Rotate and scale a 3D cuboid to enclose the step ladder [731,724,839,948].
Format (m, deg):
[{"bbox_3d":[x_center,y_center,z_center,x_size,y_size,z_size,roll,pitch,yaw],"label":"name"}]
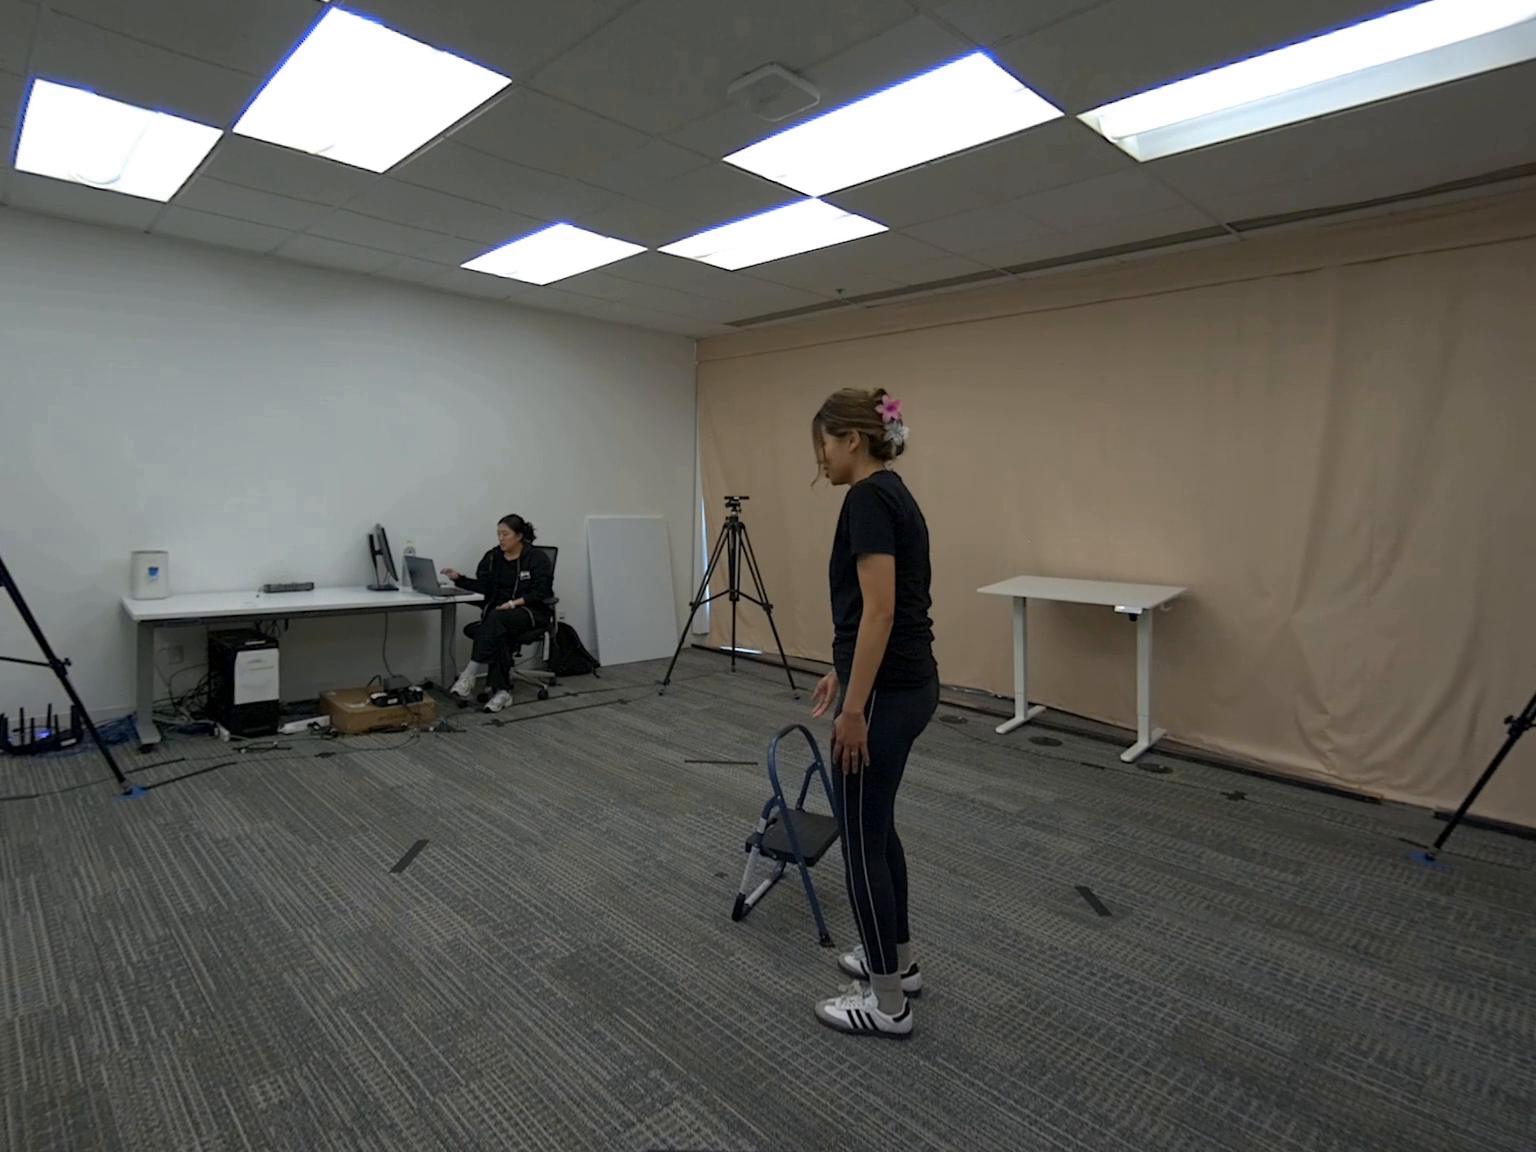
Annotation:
[{"bbox_3d":[0.117,0.827,2.862,0.356,0.604,0.424,4,4,23],"label":"step ladder"}]
